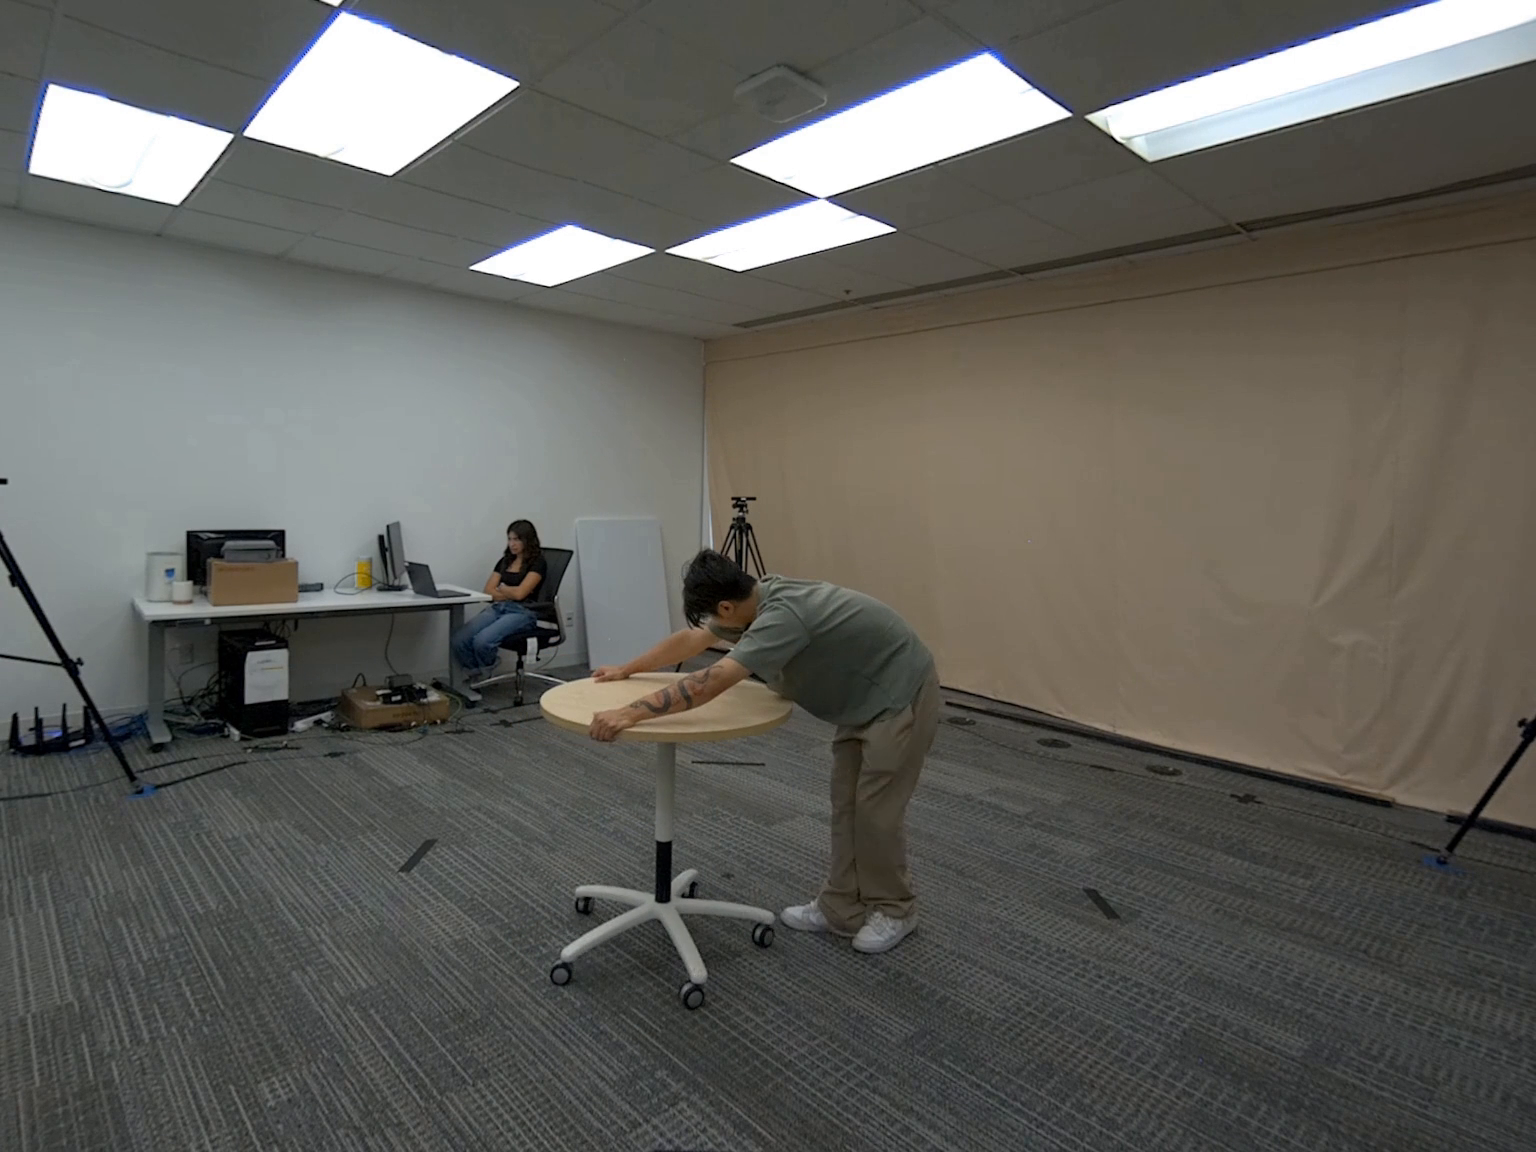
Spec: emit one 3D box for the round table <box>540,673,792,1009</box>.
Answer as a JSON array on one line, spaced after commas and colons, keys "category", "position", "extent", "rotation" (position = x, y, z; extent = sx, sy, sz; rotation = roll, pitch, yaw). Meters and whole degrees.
[{"category": "round table", "position": [-0.324, 0.760, 2.583], "extent": [0.784, 0.785, 0.787], "rotation": [2, 3, -1]}]
